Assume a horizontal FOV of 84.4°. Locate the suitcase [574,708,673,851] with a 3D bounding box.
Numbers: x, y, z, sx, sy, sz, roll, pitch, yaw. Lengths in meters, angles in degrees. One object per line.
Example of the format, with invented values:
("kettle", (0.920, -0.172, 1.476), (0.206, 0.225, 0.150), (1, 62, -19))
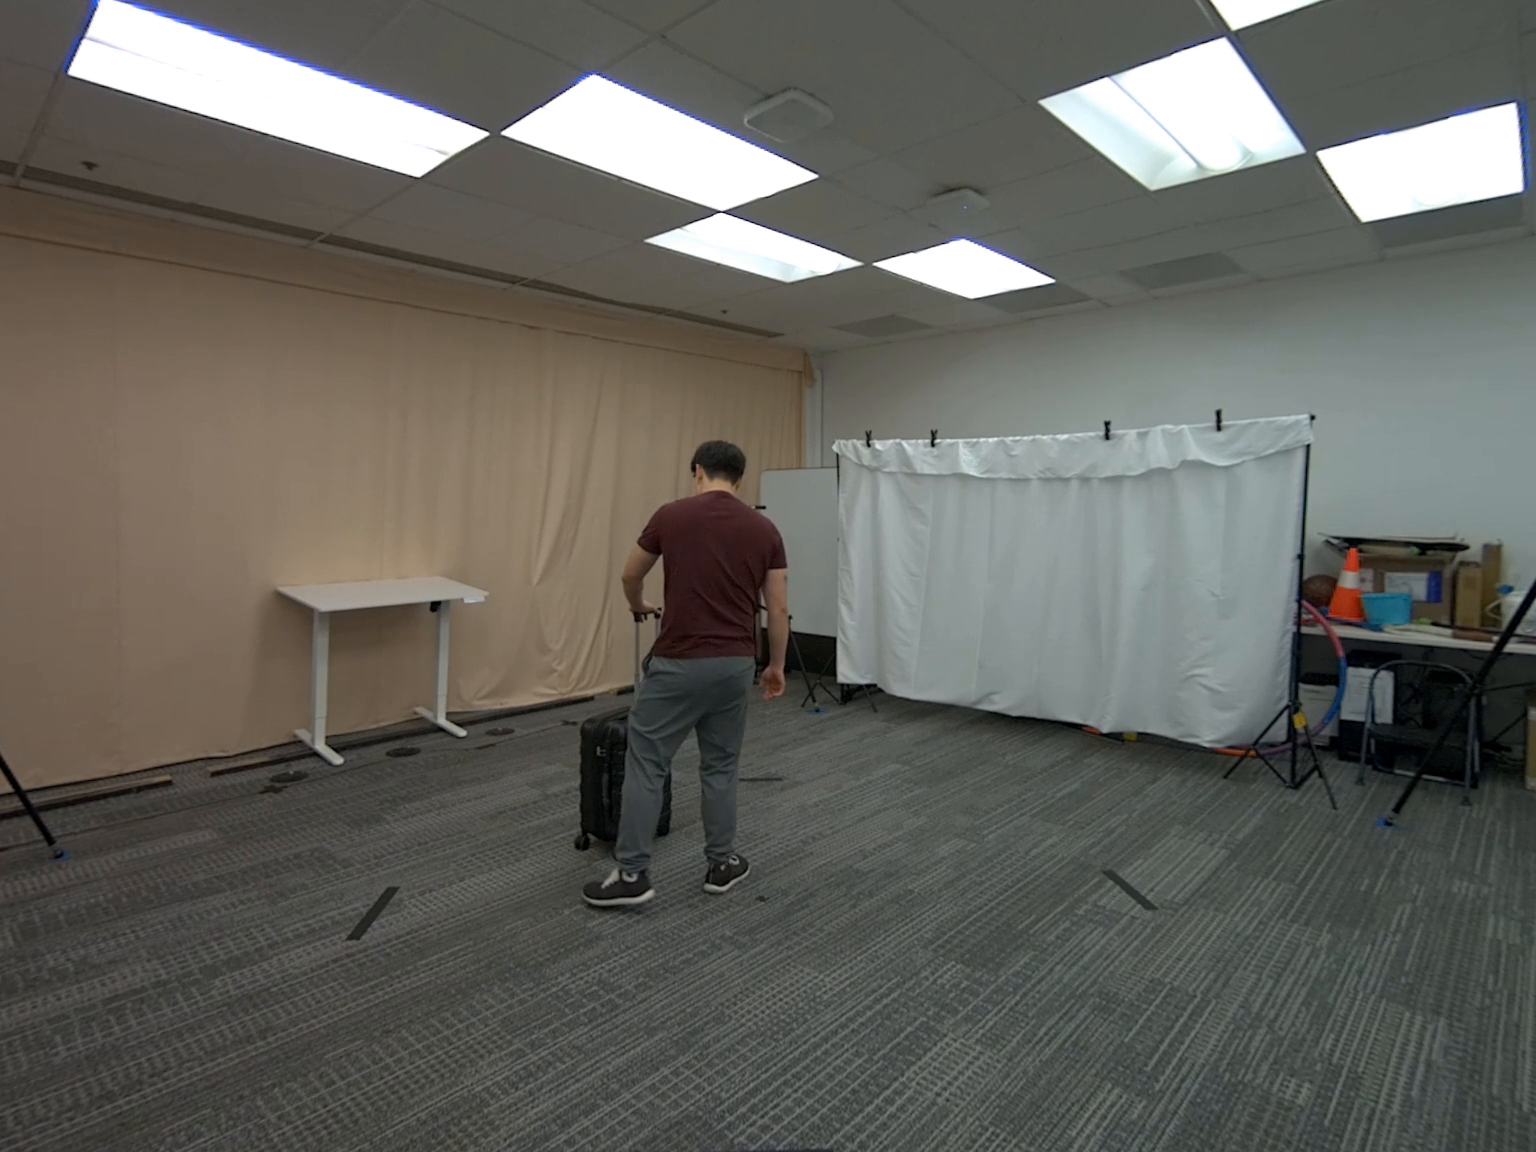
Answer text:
("suitcase", (-0.598, 0.626, 3.501), (0.264, 0.978, 0.373), (0, 1, 31))
